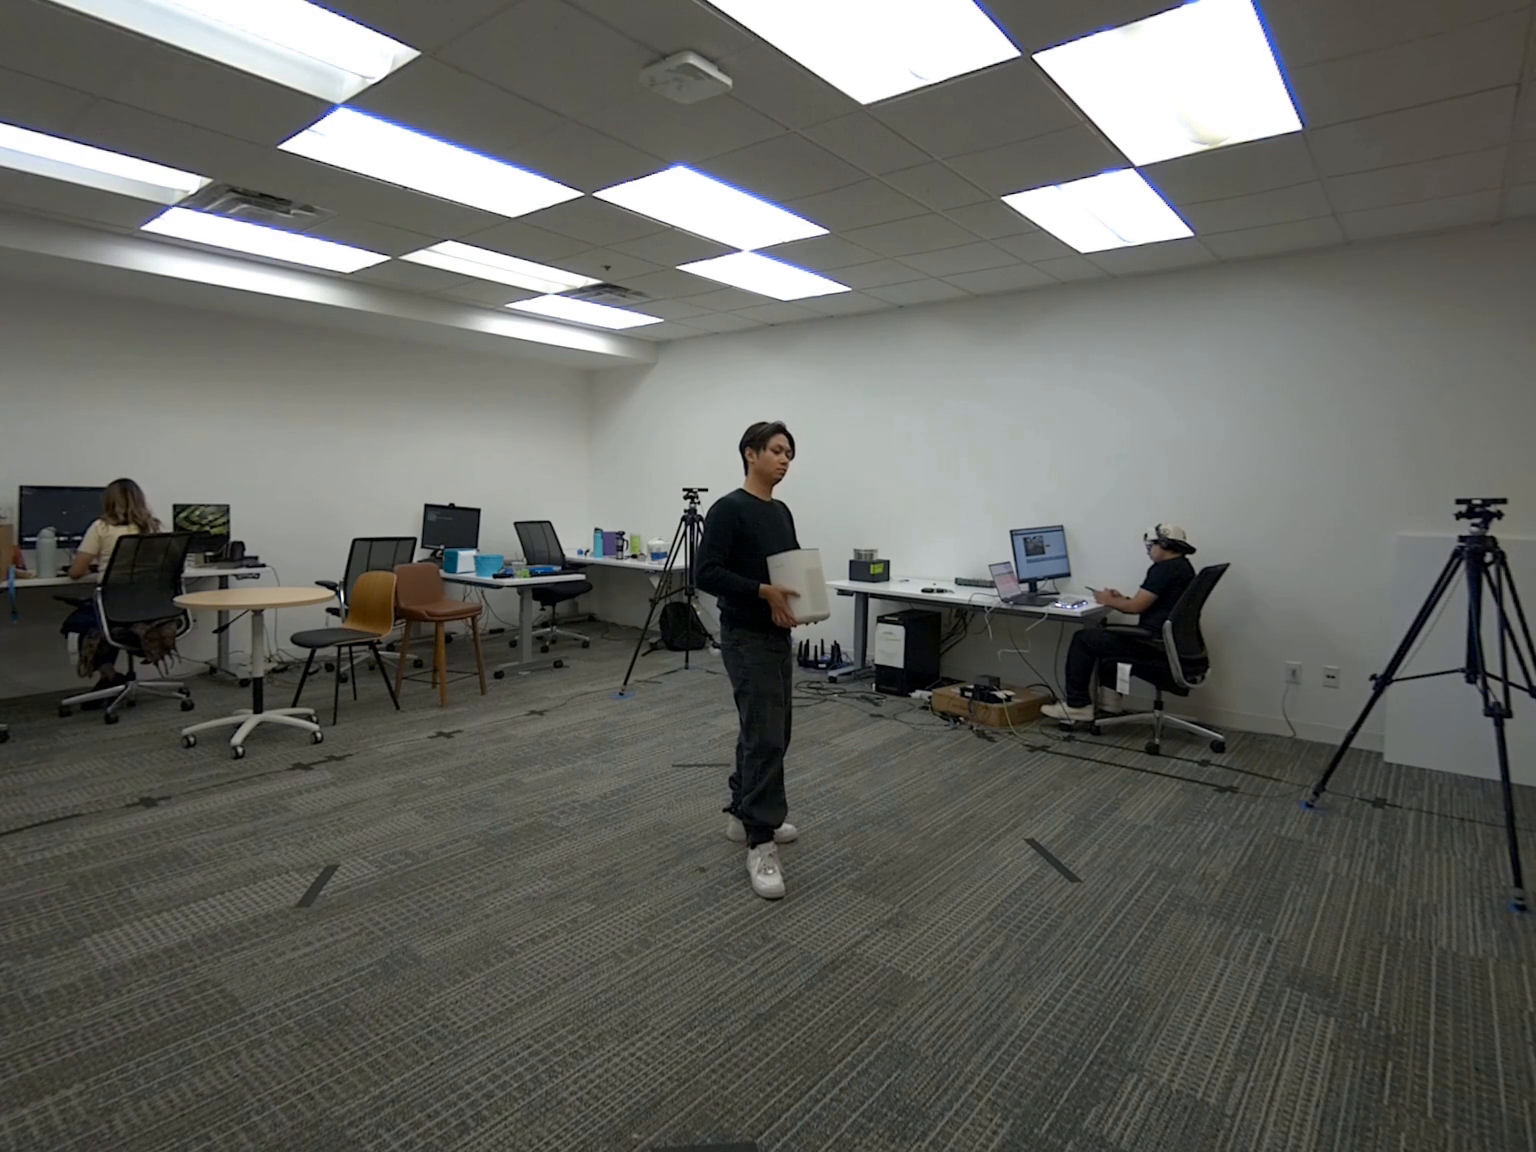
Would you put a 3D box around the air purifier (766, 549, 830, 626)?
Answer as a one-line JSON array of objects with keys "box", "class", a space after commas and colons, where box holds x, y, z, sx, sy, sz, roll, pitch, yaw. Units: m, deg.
[{"box": [0.106, 0.036, 3.178, 0.175, 0.268, 0.166, -16, -8, 37], "class": "air purifier"}]
